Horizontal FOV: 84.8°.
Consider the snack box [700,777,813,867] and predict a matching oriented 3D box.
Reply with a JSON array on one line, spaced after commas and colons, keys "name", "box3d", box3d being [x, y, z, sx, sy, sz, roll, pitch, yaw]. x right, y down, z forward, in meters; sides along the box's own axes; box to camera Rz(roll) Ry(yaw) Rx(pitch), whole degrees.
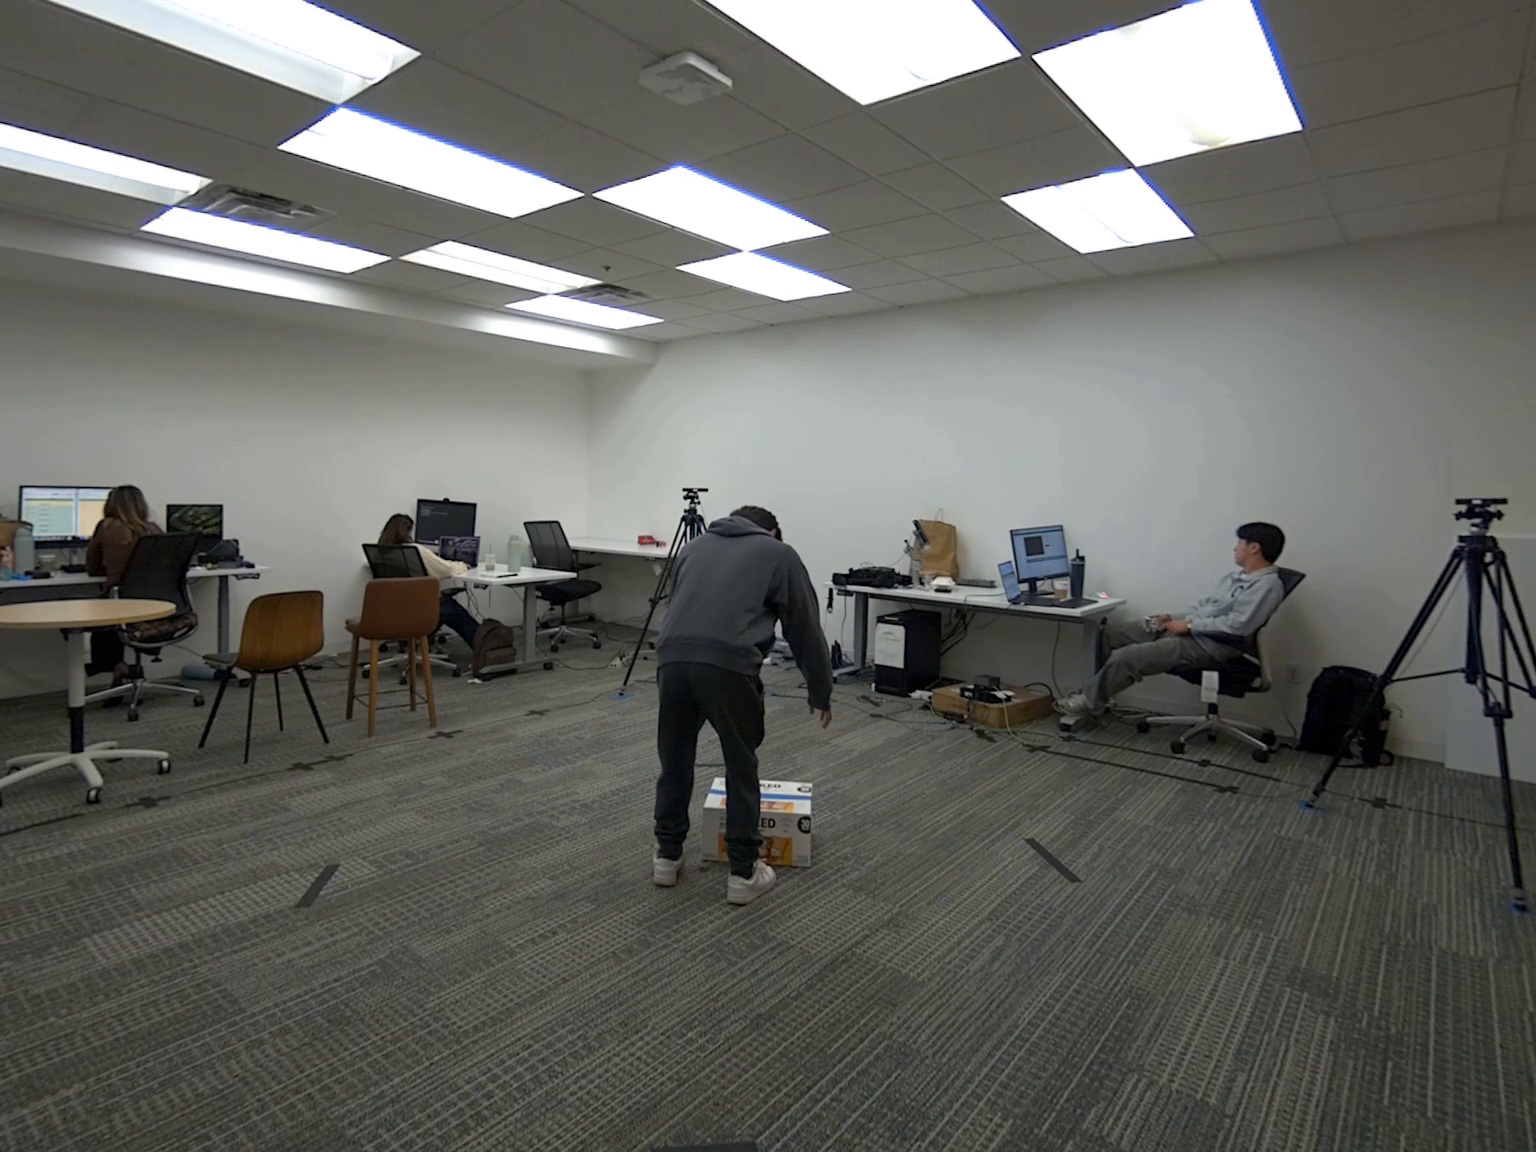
[{"name": "snack box", "box3d": [-0.042, 0.950, 3.320, 0.408, 0.205, 0.339, 2, 5, 6]}]
